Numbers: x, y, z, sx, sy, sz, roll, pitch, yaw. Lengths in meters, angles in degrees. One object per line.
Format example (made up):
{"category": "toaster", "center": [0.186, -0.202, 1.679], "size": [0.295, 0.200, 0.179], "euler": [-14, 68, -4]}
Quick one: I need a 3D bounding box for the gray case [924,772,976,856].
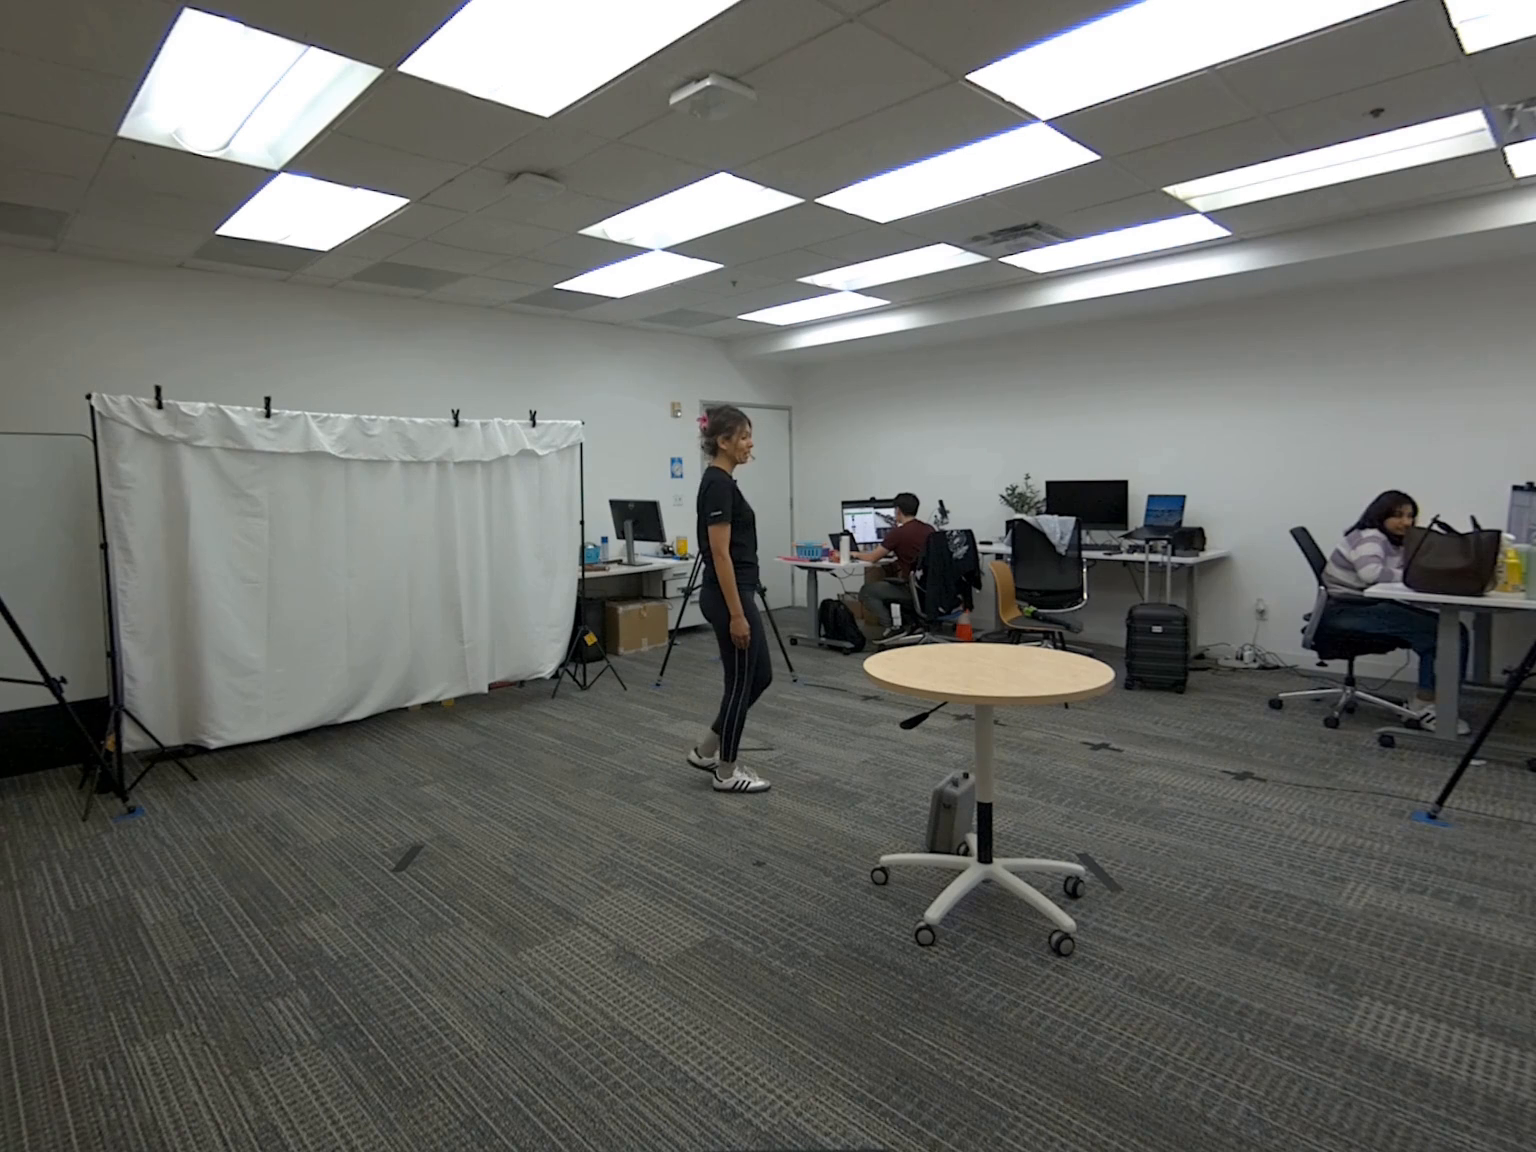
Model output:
{"category": "gray case", "center": [0.702, 0.887, 3.234], "size": [0.107, 0.259, 0.251], "euler": [9, 10, 33]}
